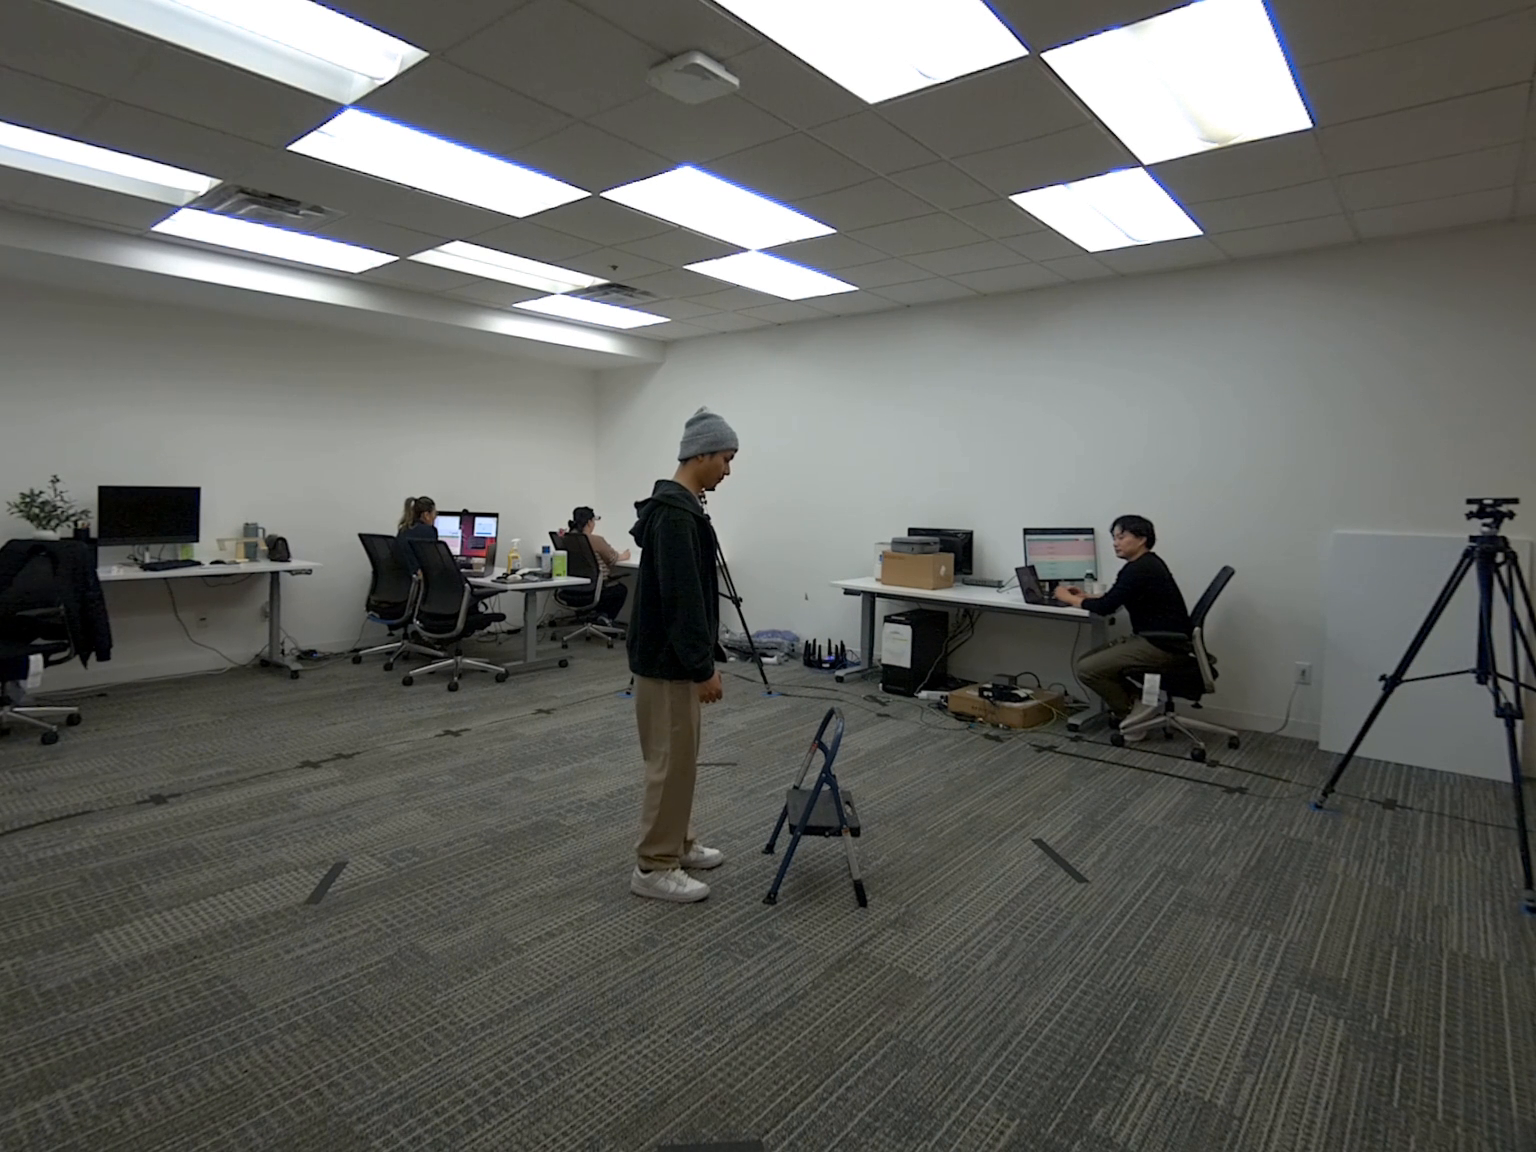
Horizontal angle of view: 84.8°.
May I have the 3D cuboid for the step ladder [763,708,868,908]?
[{"bbox_3d":[0.162,0.783,3.033,0.350,0.604,0.432,2,4,0],"label":"step ladder"}]
